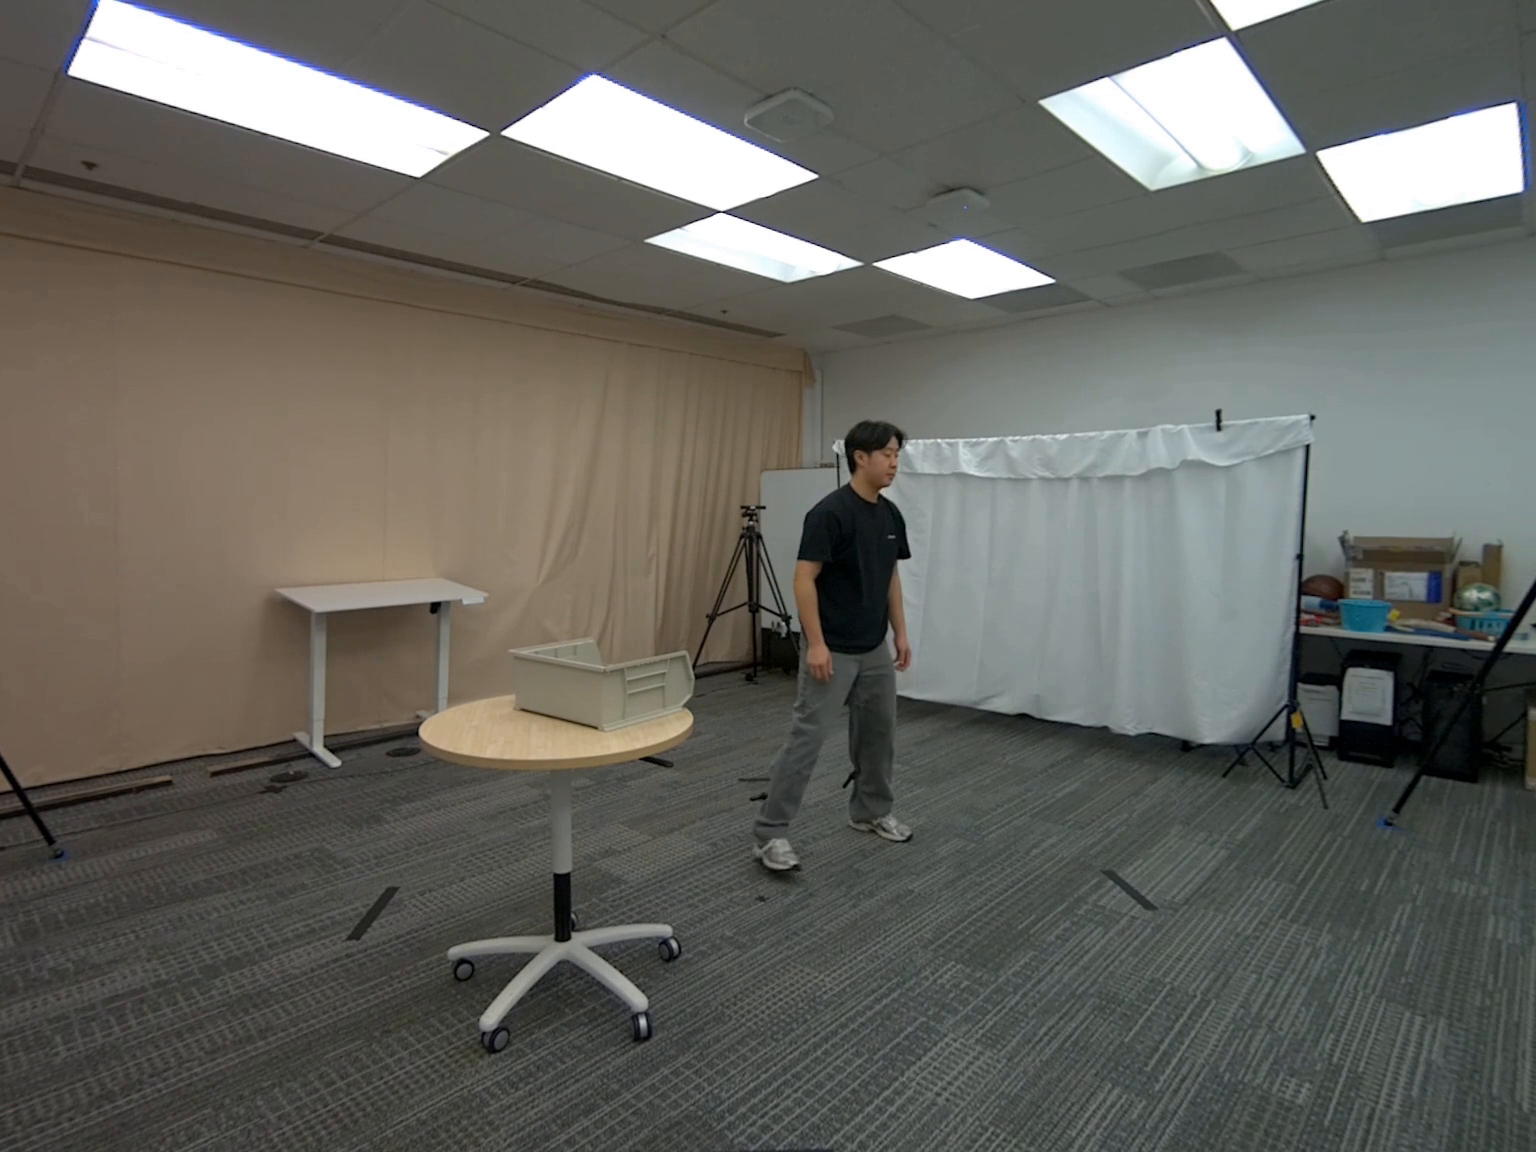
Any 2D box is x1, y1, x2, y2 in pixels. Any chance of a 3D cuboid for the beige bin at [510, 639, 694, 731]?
[{"bbox_3d":[-0.501,0.316,2.535,0.436,0.188,0.366,4,7,38],"label":"beige bin"}]
